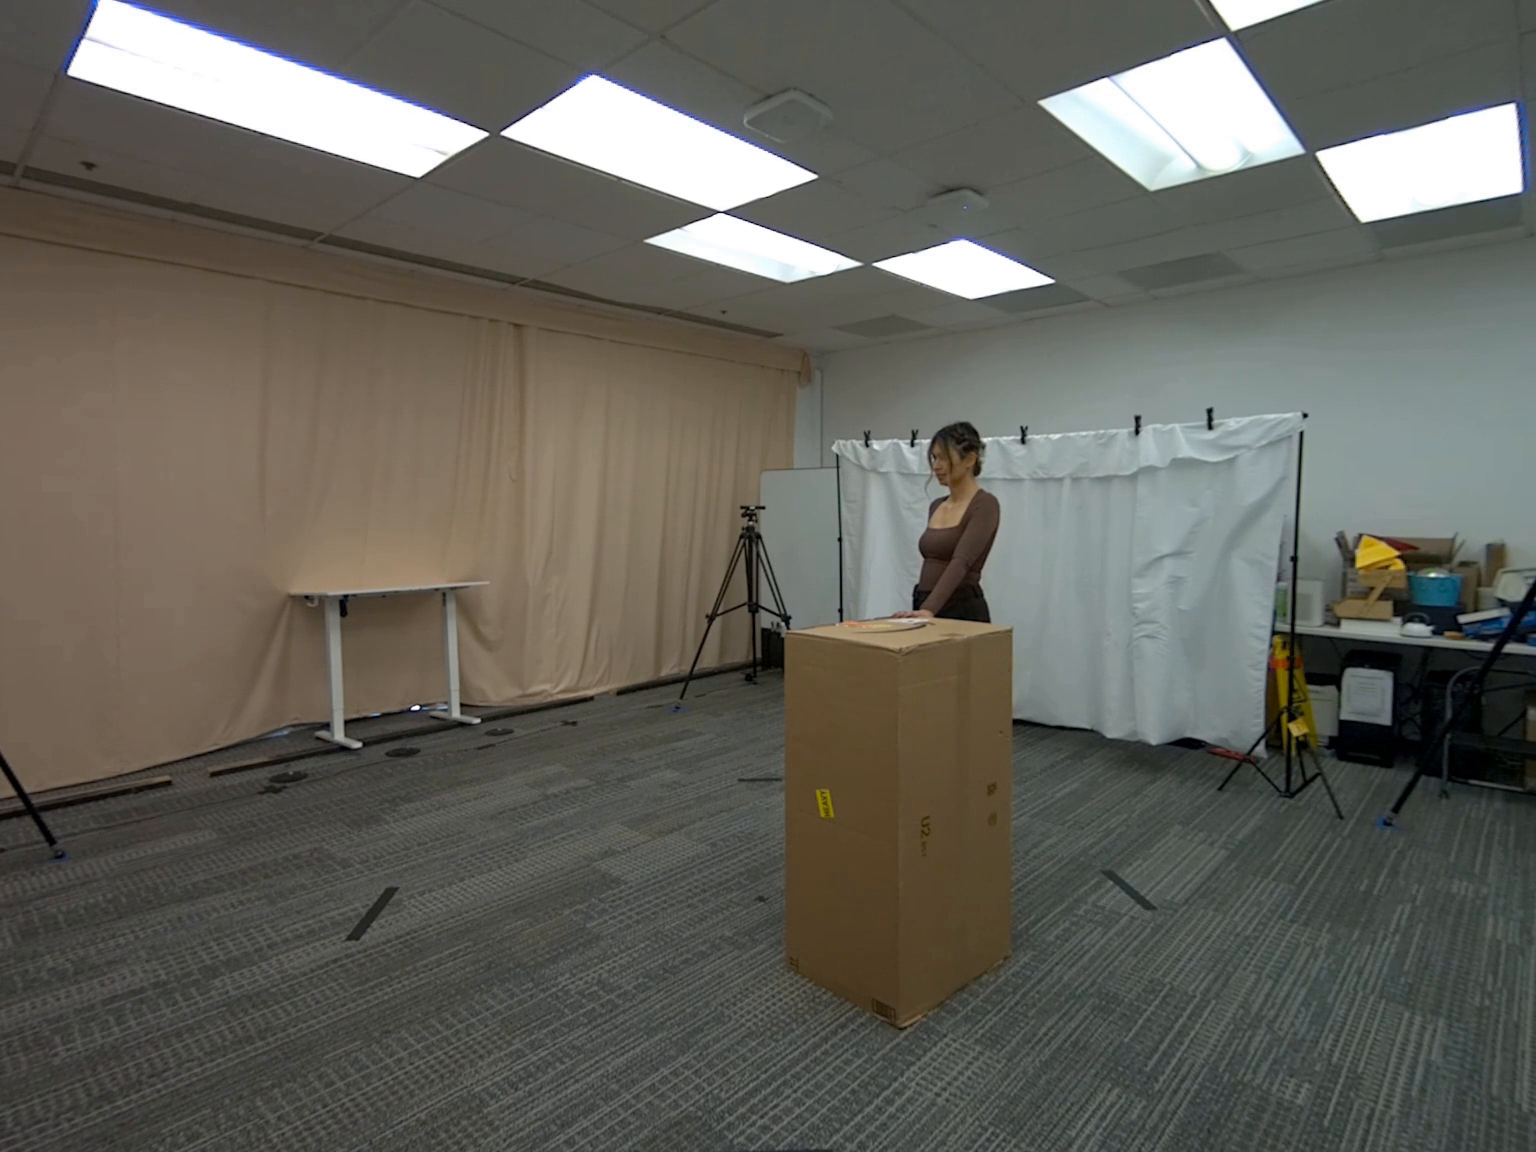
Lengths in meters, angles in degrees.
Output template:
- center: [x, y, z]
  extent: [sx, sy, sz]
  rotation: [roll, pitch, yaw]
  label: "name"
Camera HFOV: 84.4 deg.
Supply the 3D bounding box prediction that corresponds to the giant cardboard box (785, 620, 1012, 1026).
- center: [0.404, 0.670, 2.553]
  extent: [0.566, 1.025, 0.461]
  rotation: [-3, 3, -41]
  label: "giant cardboard box"
